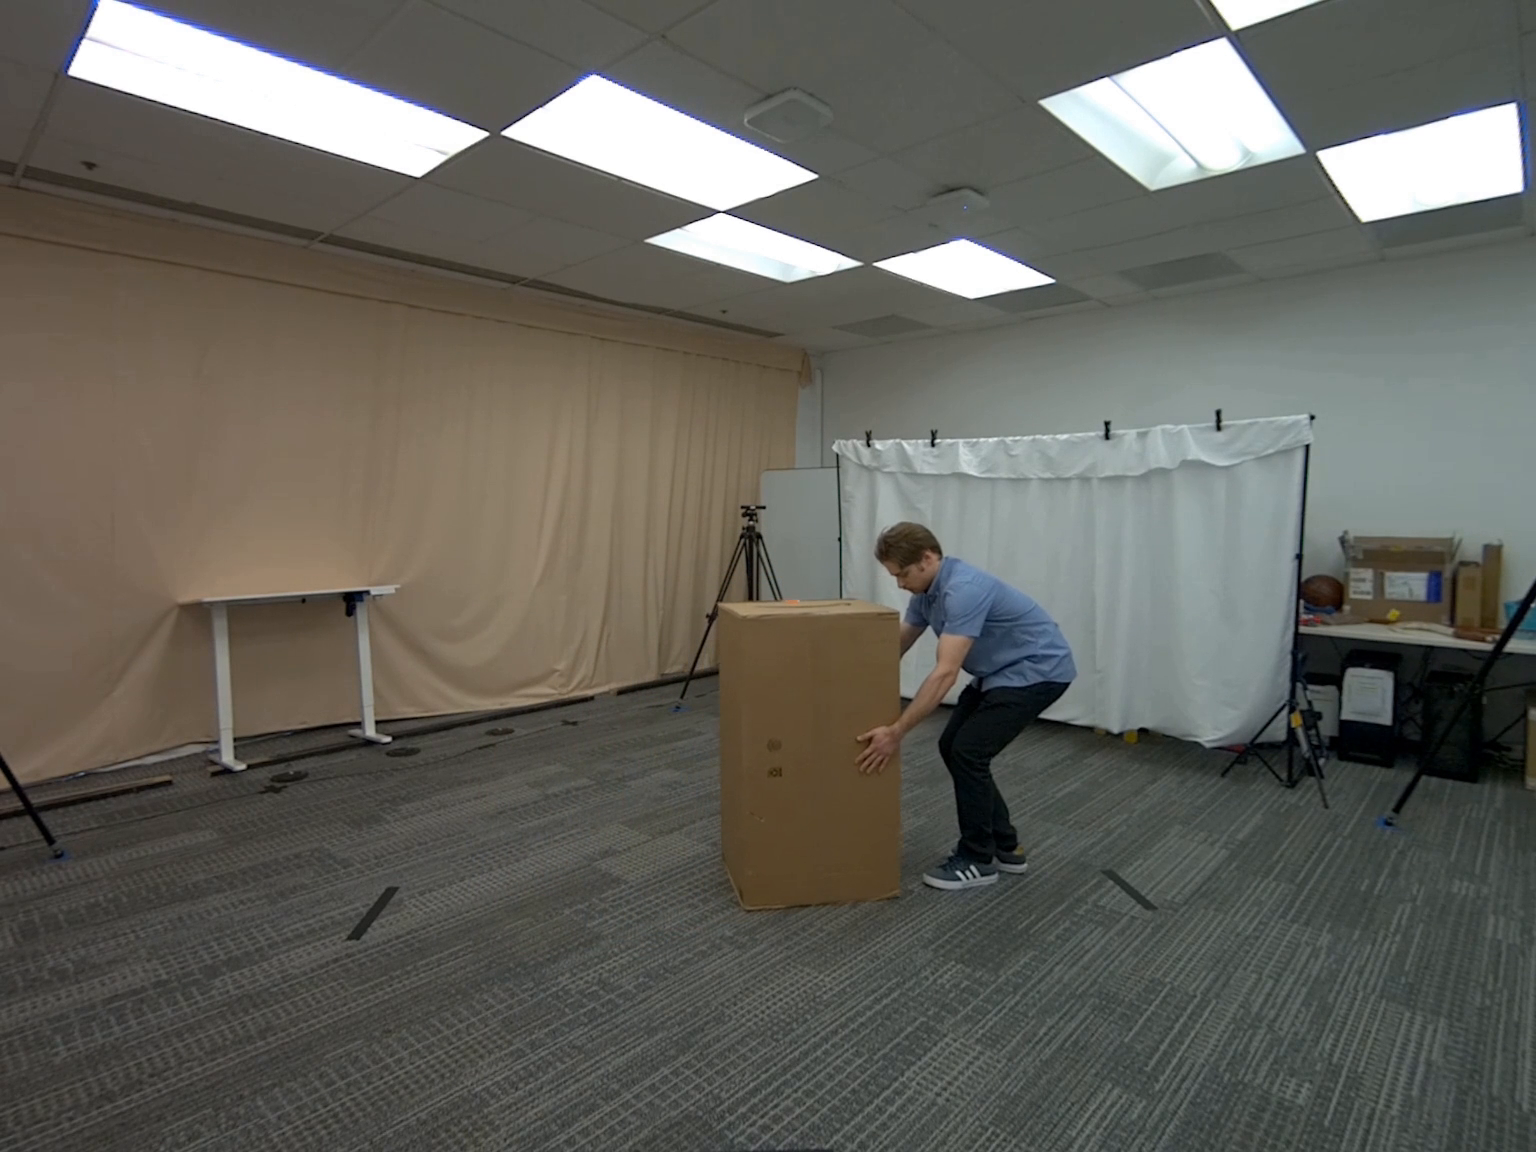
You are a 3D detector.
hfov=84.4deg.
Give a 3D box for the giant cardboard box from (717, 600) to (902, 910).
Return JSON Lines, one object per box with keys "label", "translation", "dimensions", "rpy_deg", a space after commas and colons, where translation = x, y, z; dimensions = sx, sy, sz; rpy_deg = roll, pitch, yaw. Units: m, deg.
{"label": "giant cardboard box", "translation": [0.141, 0.624, 3.122], "dimensions": [0.571, 1.024, 0.432], "rpy_deg": [-1, 3, -11]}
